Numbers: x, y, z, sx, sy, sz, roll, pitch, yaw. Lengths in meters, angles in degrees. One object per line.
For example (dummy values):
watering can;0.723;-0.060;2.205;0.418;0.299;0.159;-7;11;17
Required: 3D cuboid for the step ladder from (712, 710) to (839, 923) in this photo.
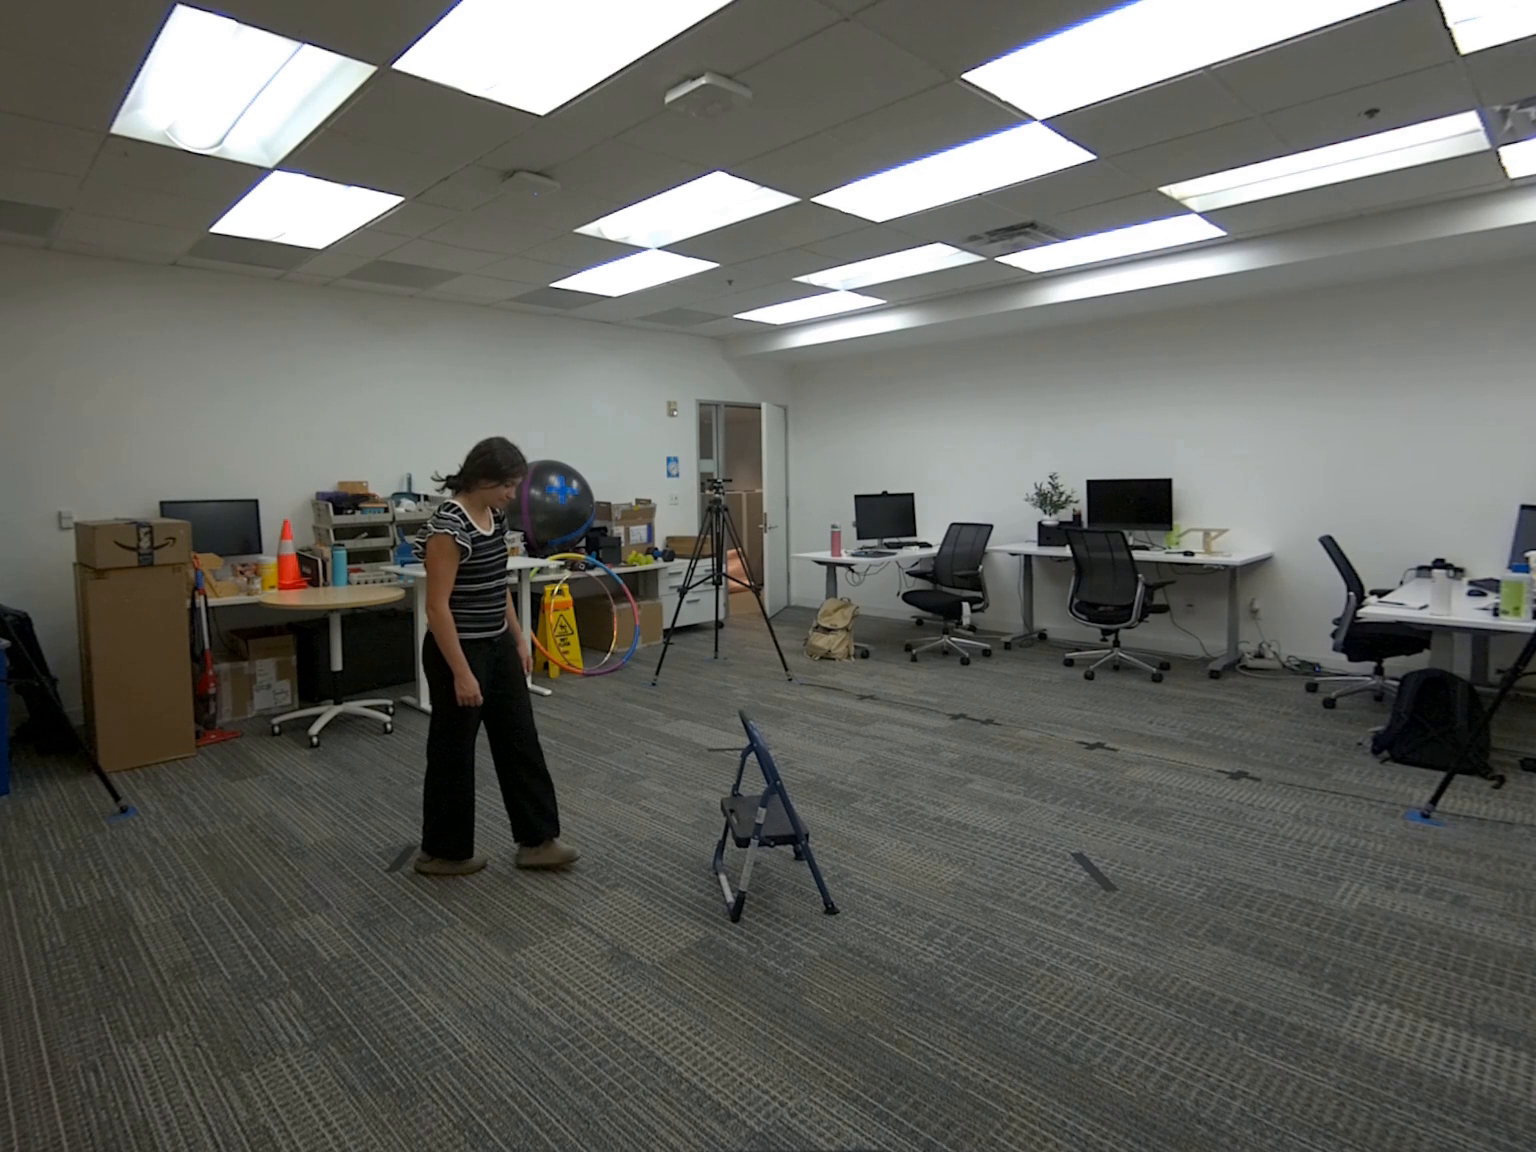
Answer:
step ladder;0.003;0.762;2.899;0.346;0.604;0.437;-2;5;-12
